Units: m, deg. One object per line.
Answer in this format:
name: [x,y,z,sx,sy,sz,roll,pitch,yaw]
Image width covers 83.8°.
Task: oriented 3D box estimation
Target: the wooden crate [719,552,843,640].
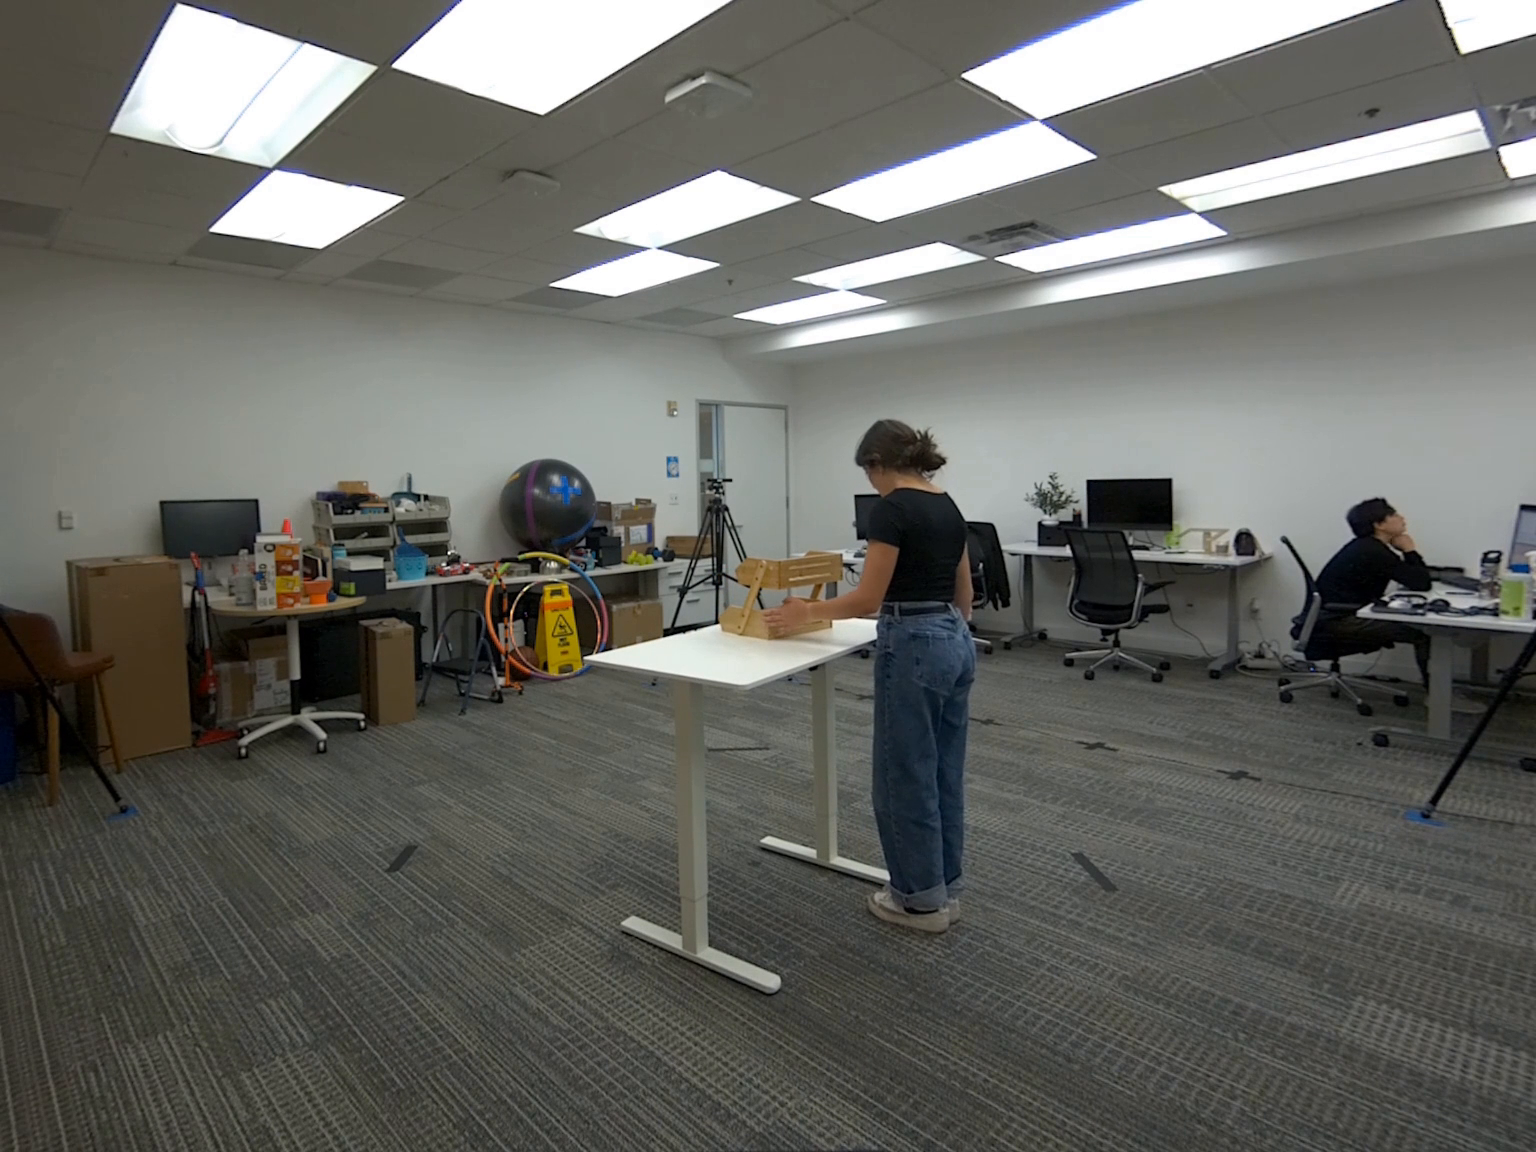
wooden crate: [0.045,0.052,2.887,0.316,0.272,0.311,-7,9,-42]
